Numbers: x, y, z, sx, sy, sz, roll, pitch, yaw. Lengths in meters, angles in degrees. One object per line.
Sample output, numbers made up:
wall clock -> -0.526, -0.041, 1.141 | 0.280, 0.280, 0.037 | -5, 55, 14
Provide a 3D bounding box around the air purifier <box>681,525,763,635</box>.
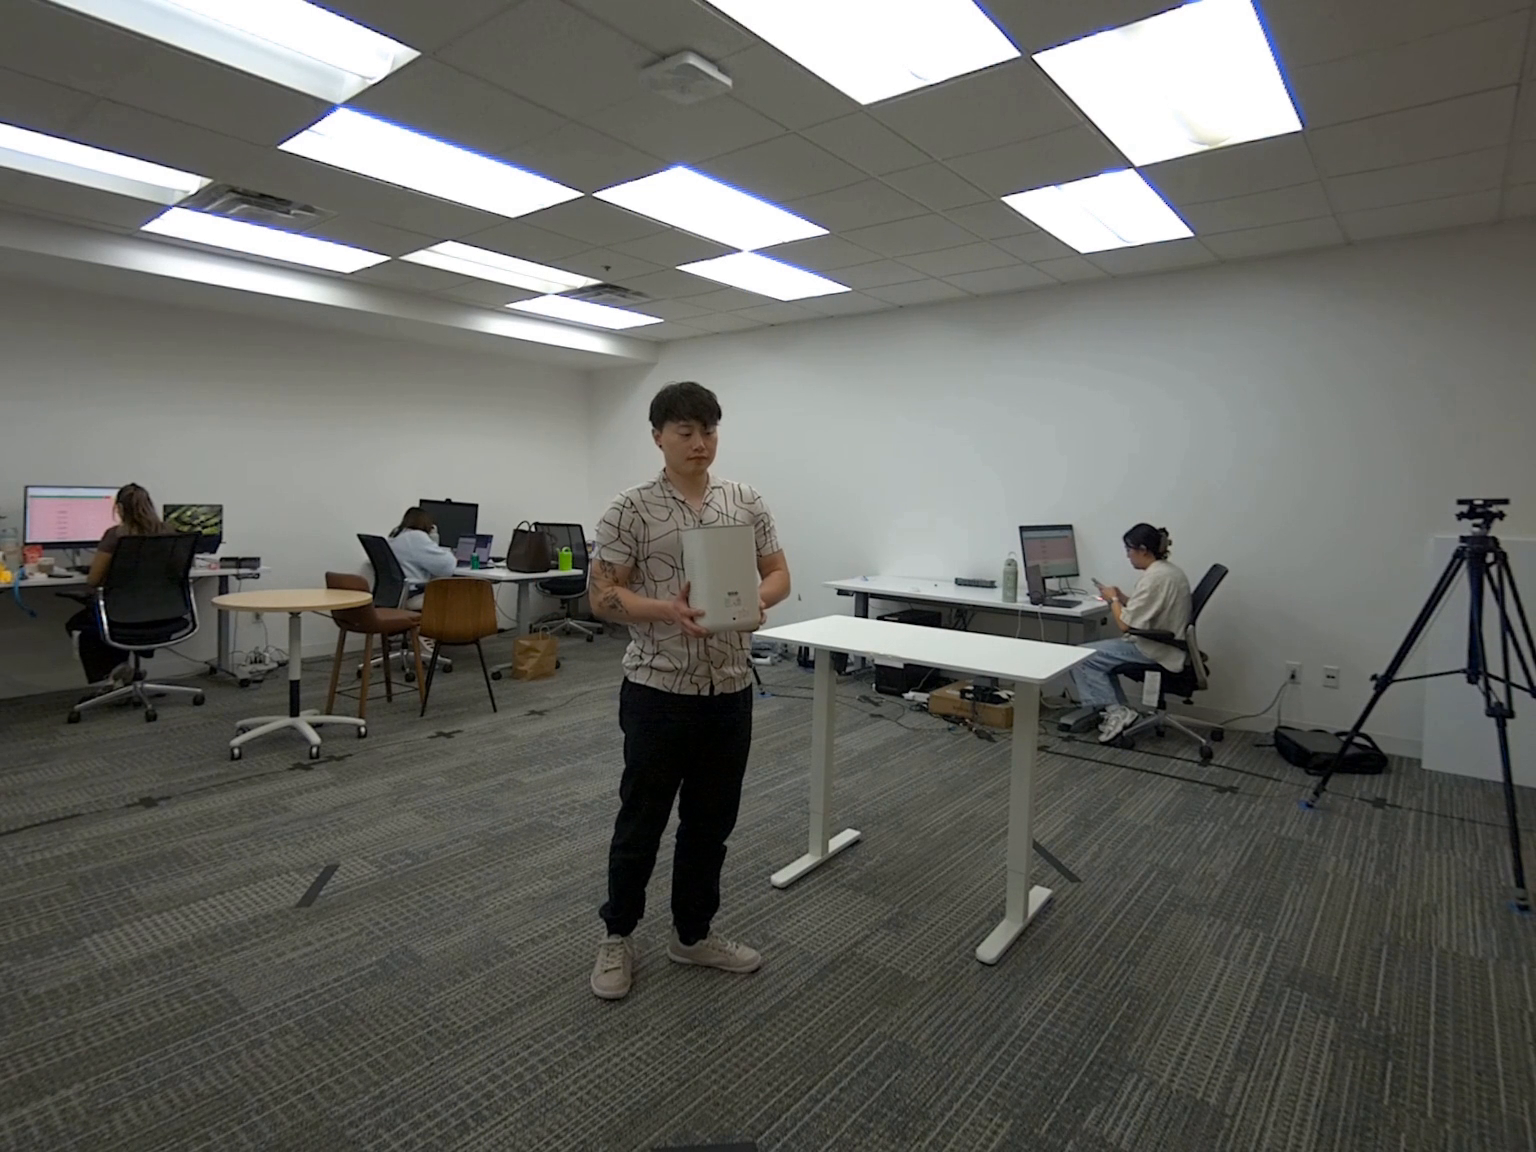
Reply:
air purifier -> -0.135, 0.005, 2.177 | 0.167, 0.266, 0.175 | -4, -2, -24
